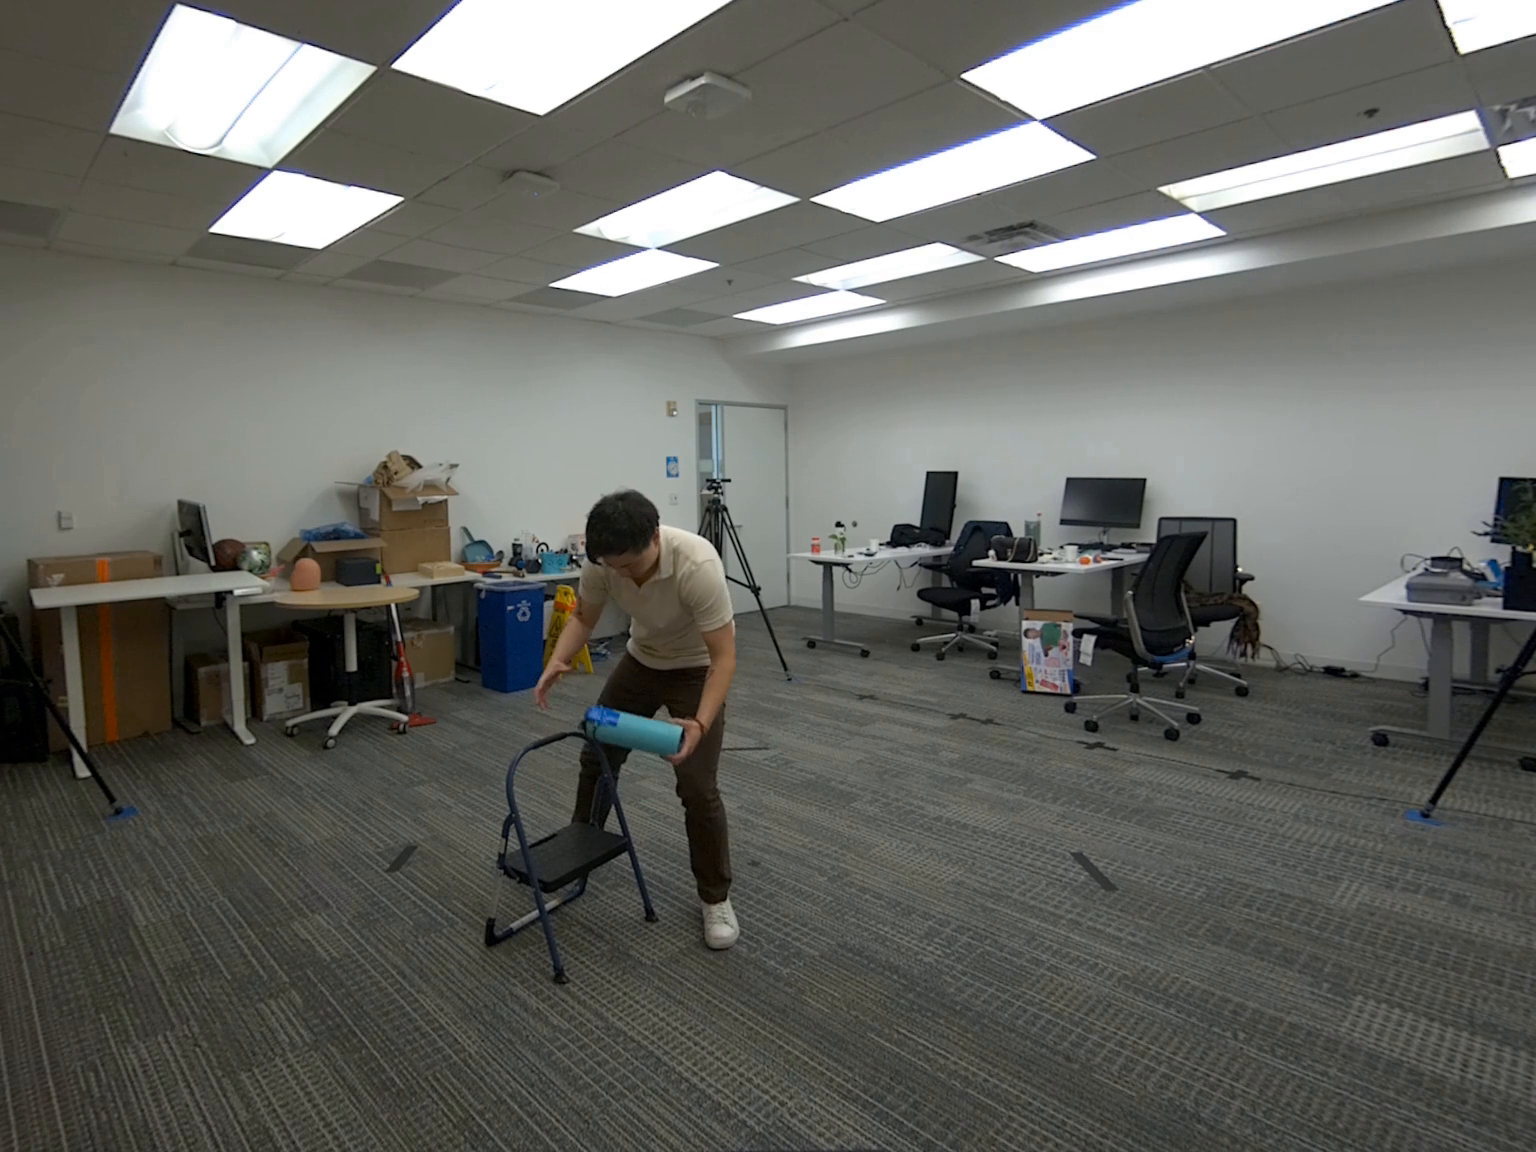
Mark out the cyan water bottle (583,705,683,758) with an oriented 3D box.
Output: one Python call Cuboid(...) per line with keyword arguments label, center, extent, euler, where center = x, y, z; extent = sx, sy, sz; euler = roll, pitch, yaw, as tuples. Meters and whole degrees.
Cuboid(label="cyan water bottle", center=(-0.397, 0.426, 2.367), extent=(0.284, 0.092, 0.092), euler=(13, 5, 1))
